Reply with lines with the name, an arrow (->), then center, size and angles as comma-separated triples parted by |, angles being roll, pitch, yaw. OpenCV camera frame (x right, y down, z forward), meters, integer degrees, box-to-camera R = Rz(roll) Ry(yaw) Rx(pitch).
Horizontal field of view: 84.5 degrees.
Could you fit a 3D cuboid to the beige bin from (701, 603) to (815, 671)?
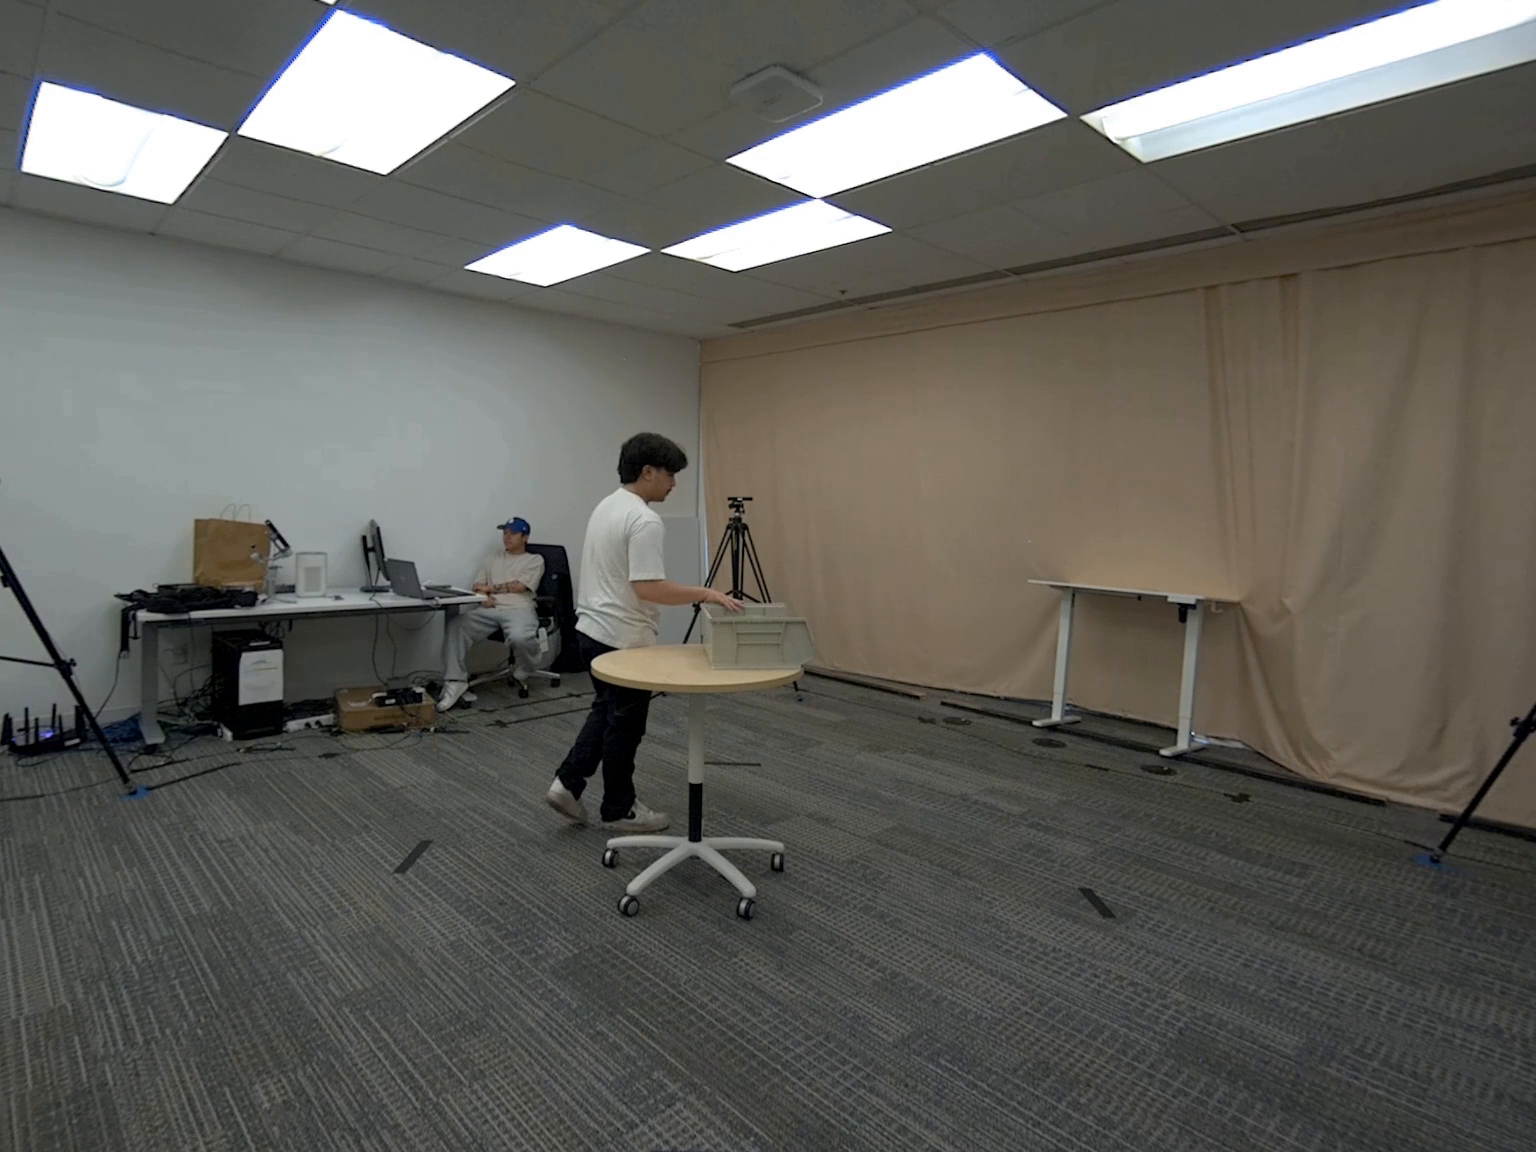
beige bin -> -0.057, 0.218, 3.129 | 0.375, 0.188, 0.427 | -1, 5, -10
